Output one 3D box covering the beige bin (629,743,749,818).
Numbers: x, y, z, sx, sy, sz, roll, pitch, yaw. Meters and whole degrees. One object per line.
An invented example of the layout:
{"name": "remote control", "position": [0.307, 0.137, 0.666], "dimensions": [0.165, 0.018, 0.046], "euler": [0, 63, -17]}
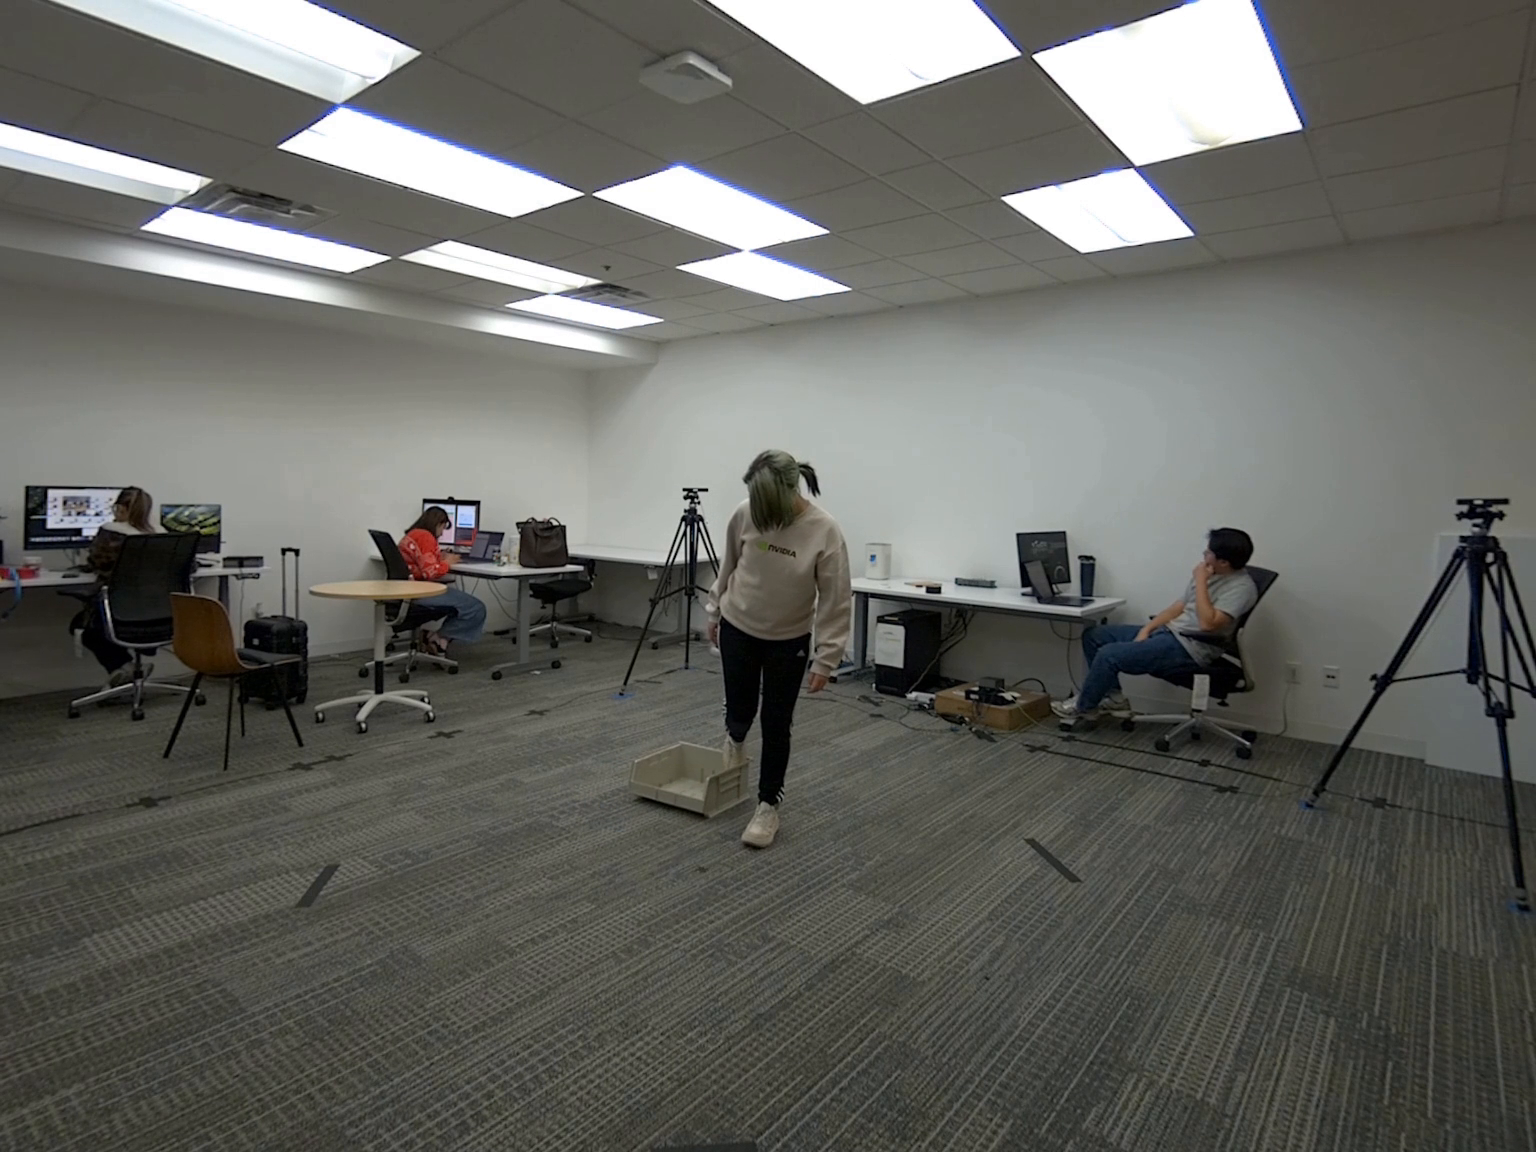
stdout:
{"name": "beige bin", "position": [-0.358, 0.907, 3.816], "dimensions": [0.435, 0.188, 0.367], "euler": [4, 5, 33]}
